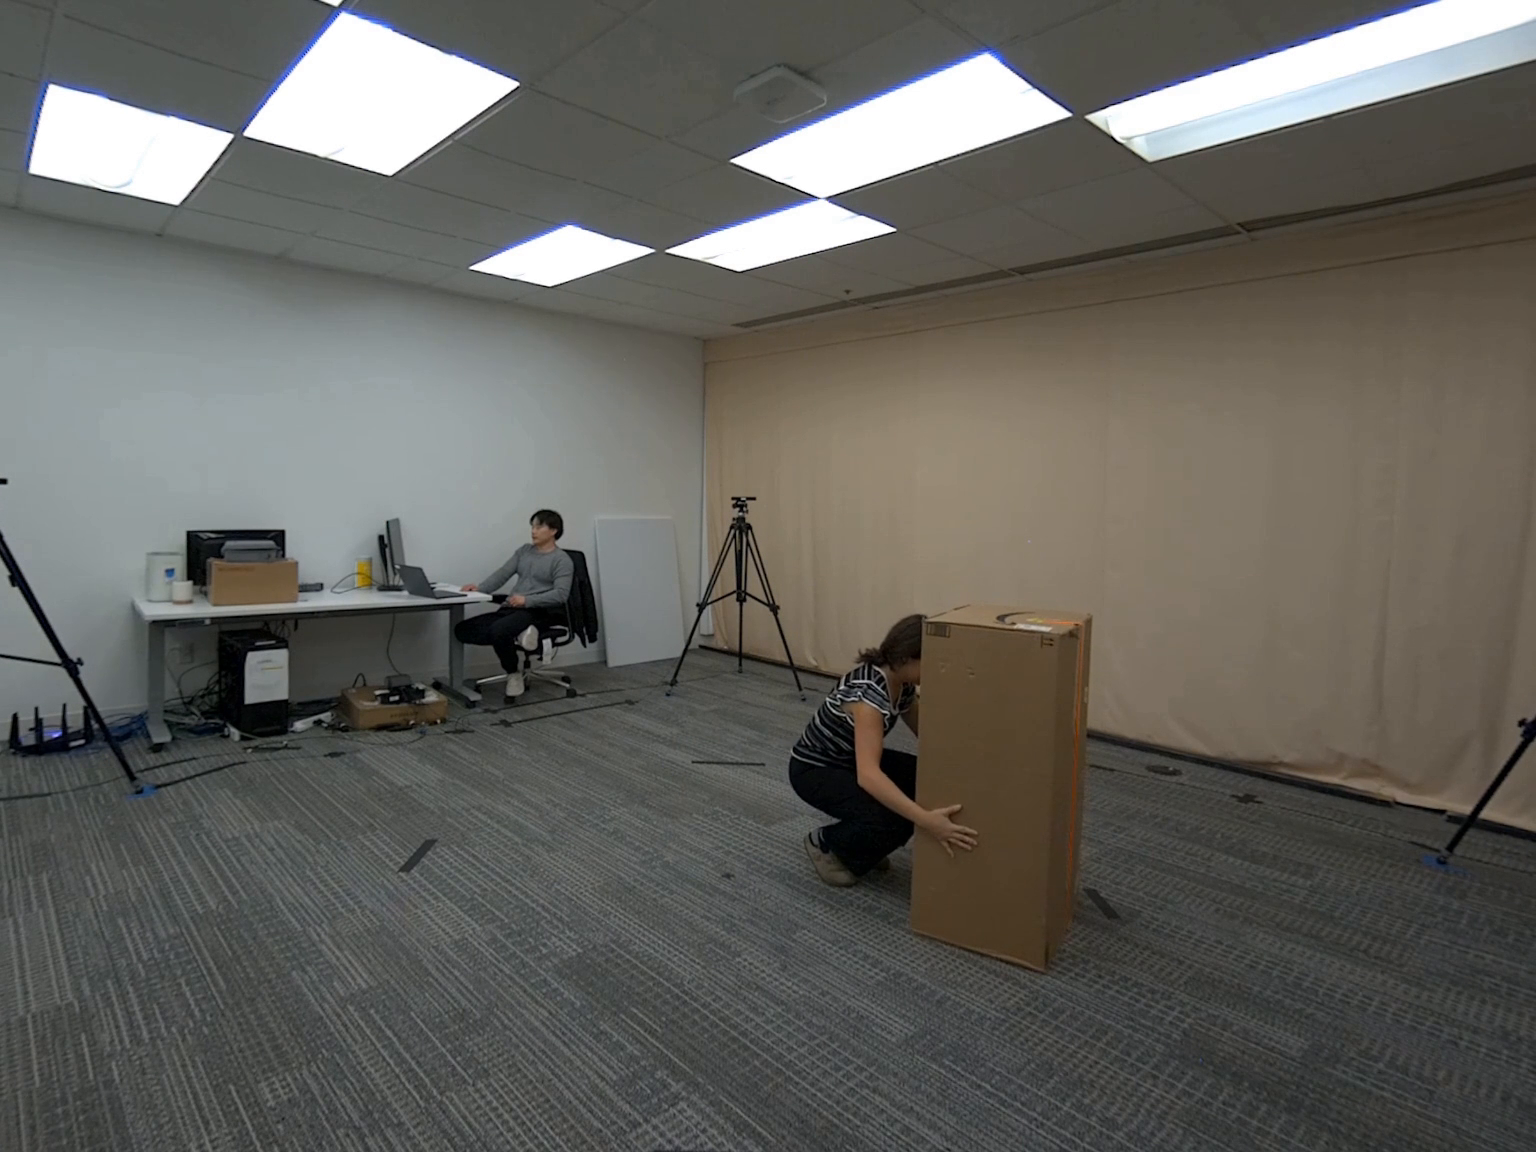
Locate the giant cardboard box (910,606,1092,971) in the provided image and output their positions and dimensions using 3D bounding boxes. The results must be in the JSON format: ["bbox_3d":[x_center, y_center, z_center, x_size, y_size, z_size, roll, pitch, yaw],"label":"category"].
[{"bbox_3d":[0.789,0.644,2.826,0.435,1.024,0.566,3,3,30],"label":"giant cardboard box"}]
